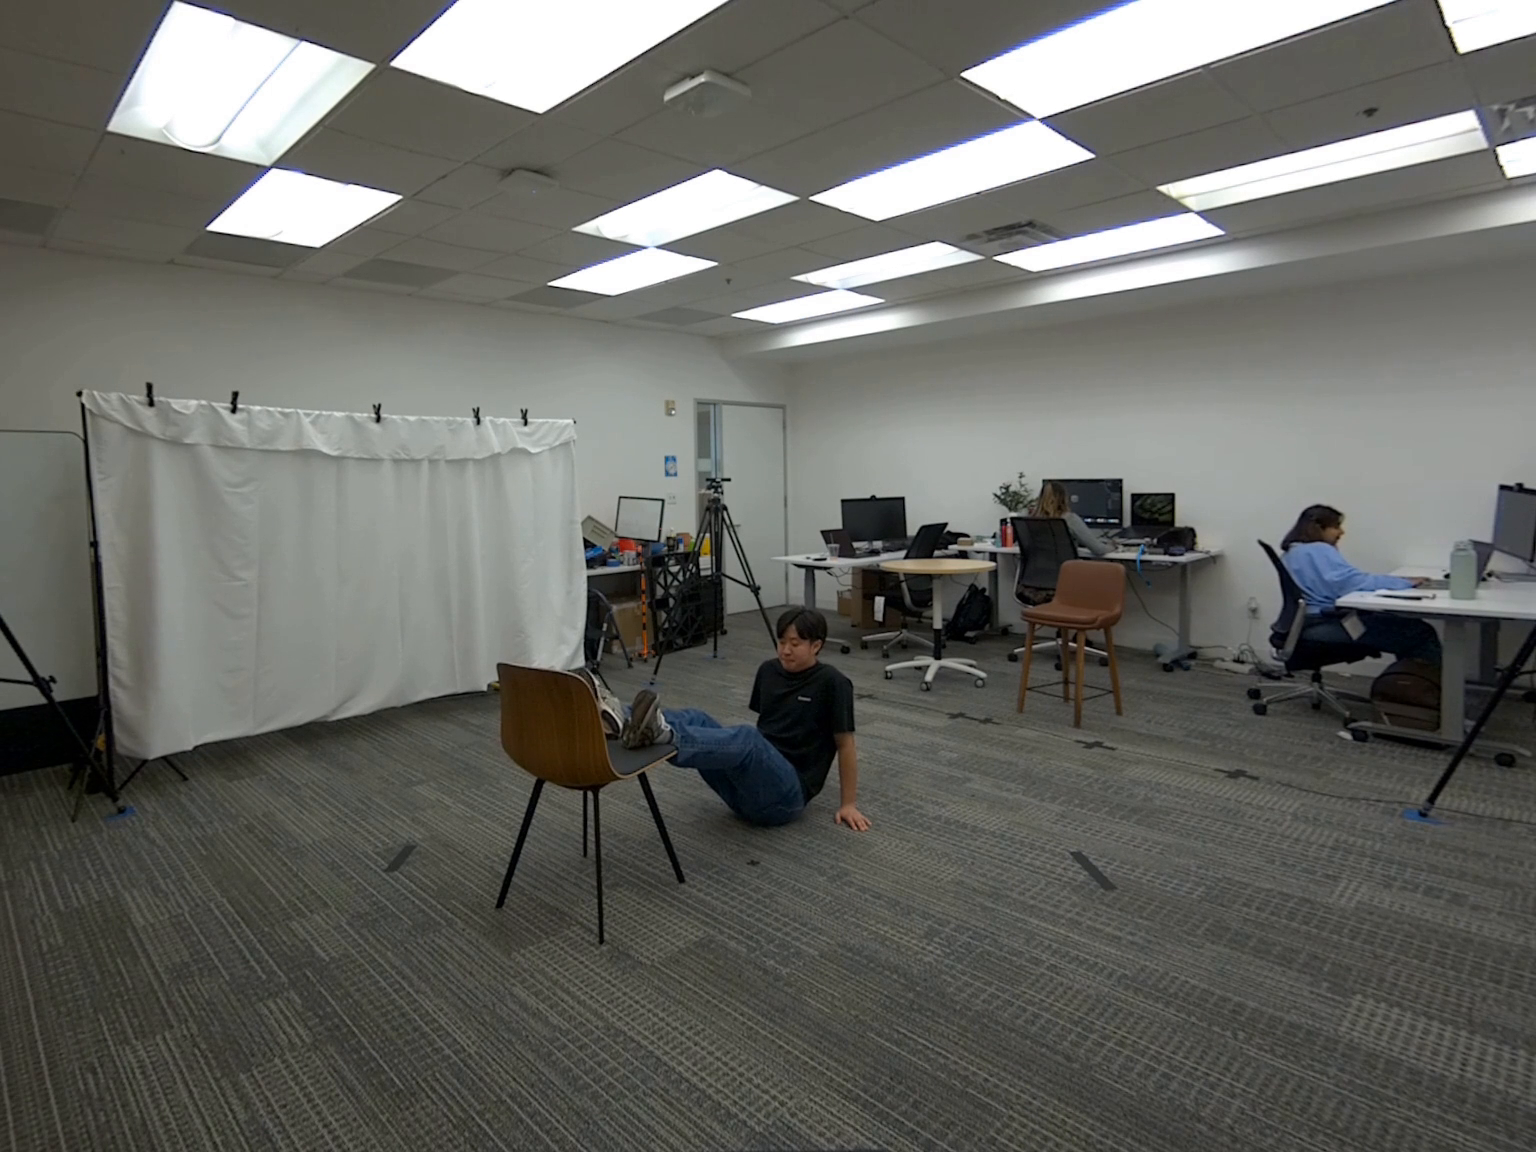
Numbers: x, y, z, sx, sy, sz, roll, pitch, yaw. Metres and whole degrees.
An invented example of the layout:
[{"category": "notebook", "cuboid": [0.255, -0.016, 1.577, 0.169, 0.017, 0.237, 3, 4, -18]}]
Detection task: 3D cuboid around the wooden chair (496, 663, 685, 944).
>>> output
[{"category": "wooden chair", "cuboid": [-0.591, 0.653, 2.857, 0.491, 0.871, 0.513, 2, 9, 30]}]
